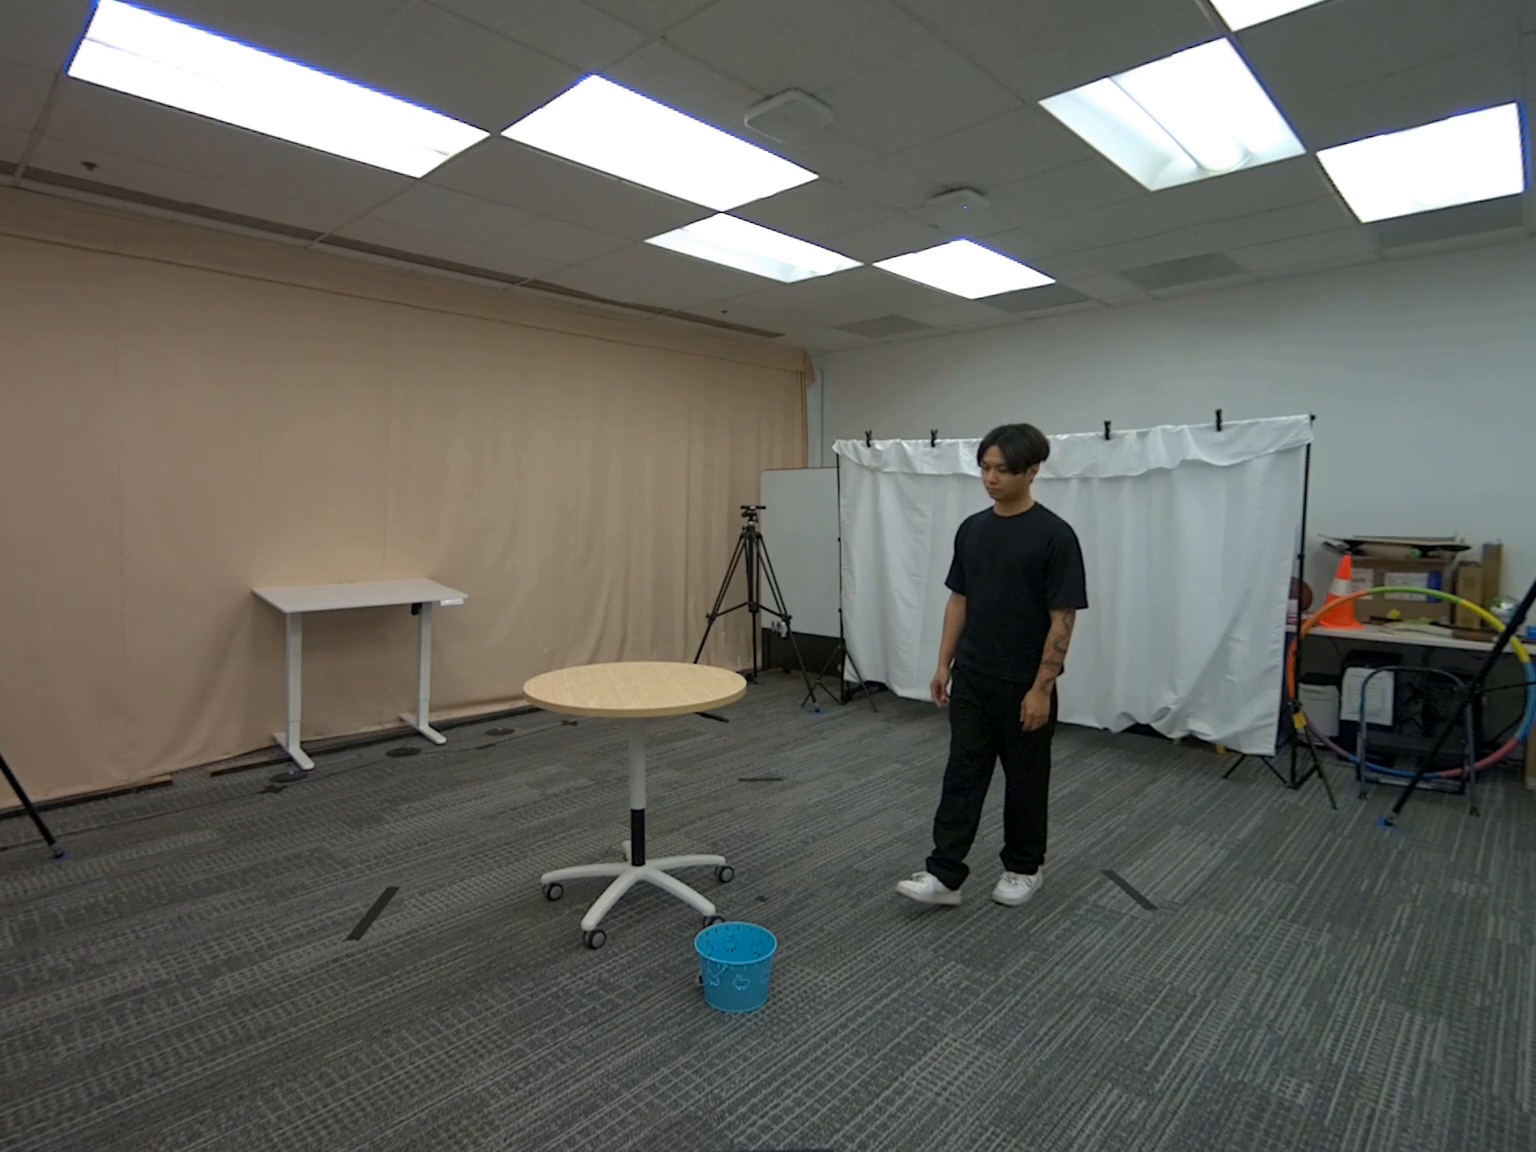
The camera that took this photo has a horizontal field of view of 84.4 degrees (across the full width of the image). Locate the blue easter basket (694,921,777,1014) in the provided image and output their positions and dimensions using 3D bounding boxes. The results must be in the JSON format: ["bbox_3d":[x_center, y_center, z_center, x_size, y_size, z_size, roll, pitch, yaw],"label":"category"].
[{"bbox_3d":[-0.093,1.114,2.396,0.243,0.155,0.244,0,3,-2],"label":"blue easter basket"}]
